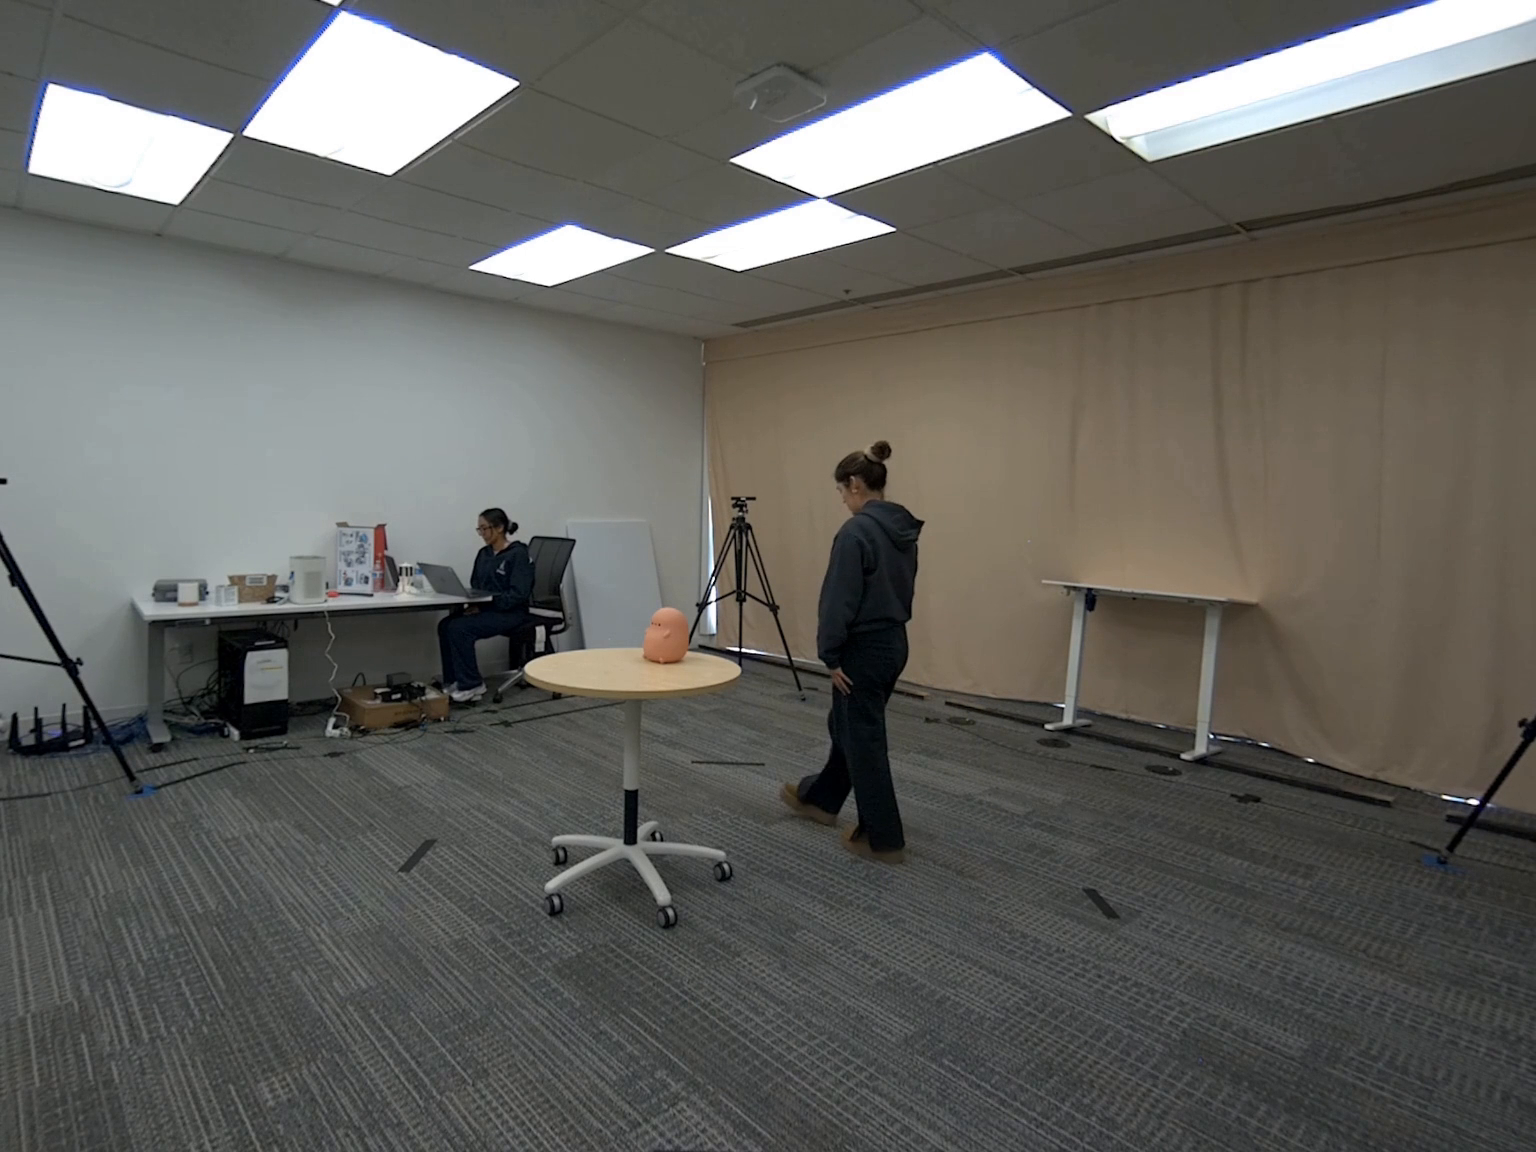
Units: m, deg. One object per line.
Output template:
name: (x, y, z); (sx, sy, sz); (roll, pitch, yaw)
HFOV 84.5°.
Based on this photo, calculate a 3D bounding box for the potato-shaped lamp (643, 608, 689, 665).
potato-shaped lamp: (-0.385, 0.217, 3.142); (0.167, 0.198, 0.169); (0, 4, -45)
